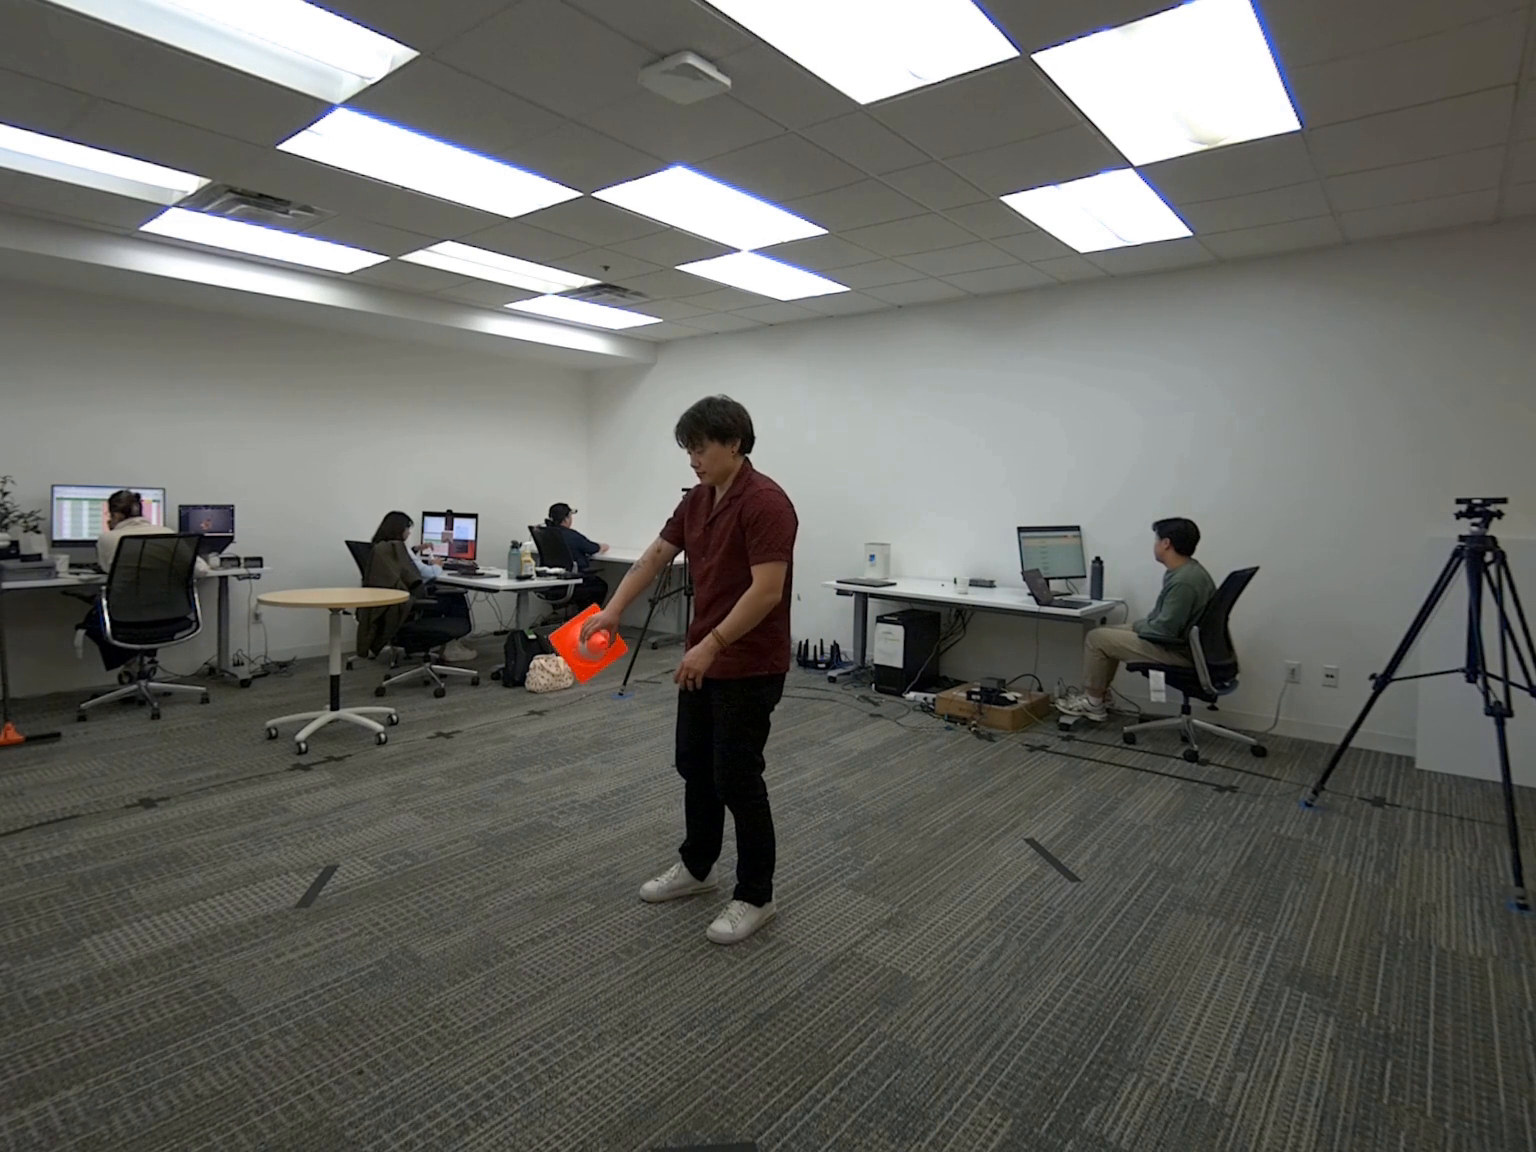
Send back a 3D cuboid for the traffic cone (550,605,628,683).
[{"bbox_3d":[-0.579,0.218,2.716,0.204,0.203,0.387,-32,4,-10],"label":"traffic cone"}]
